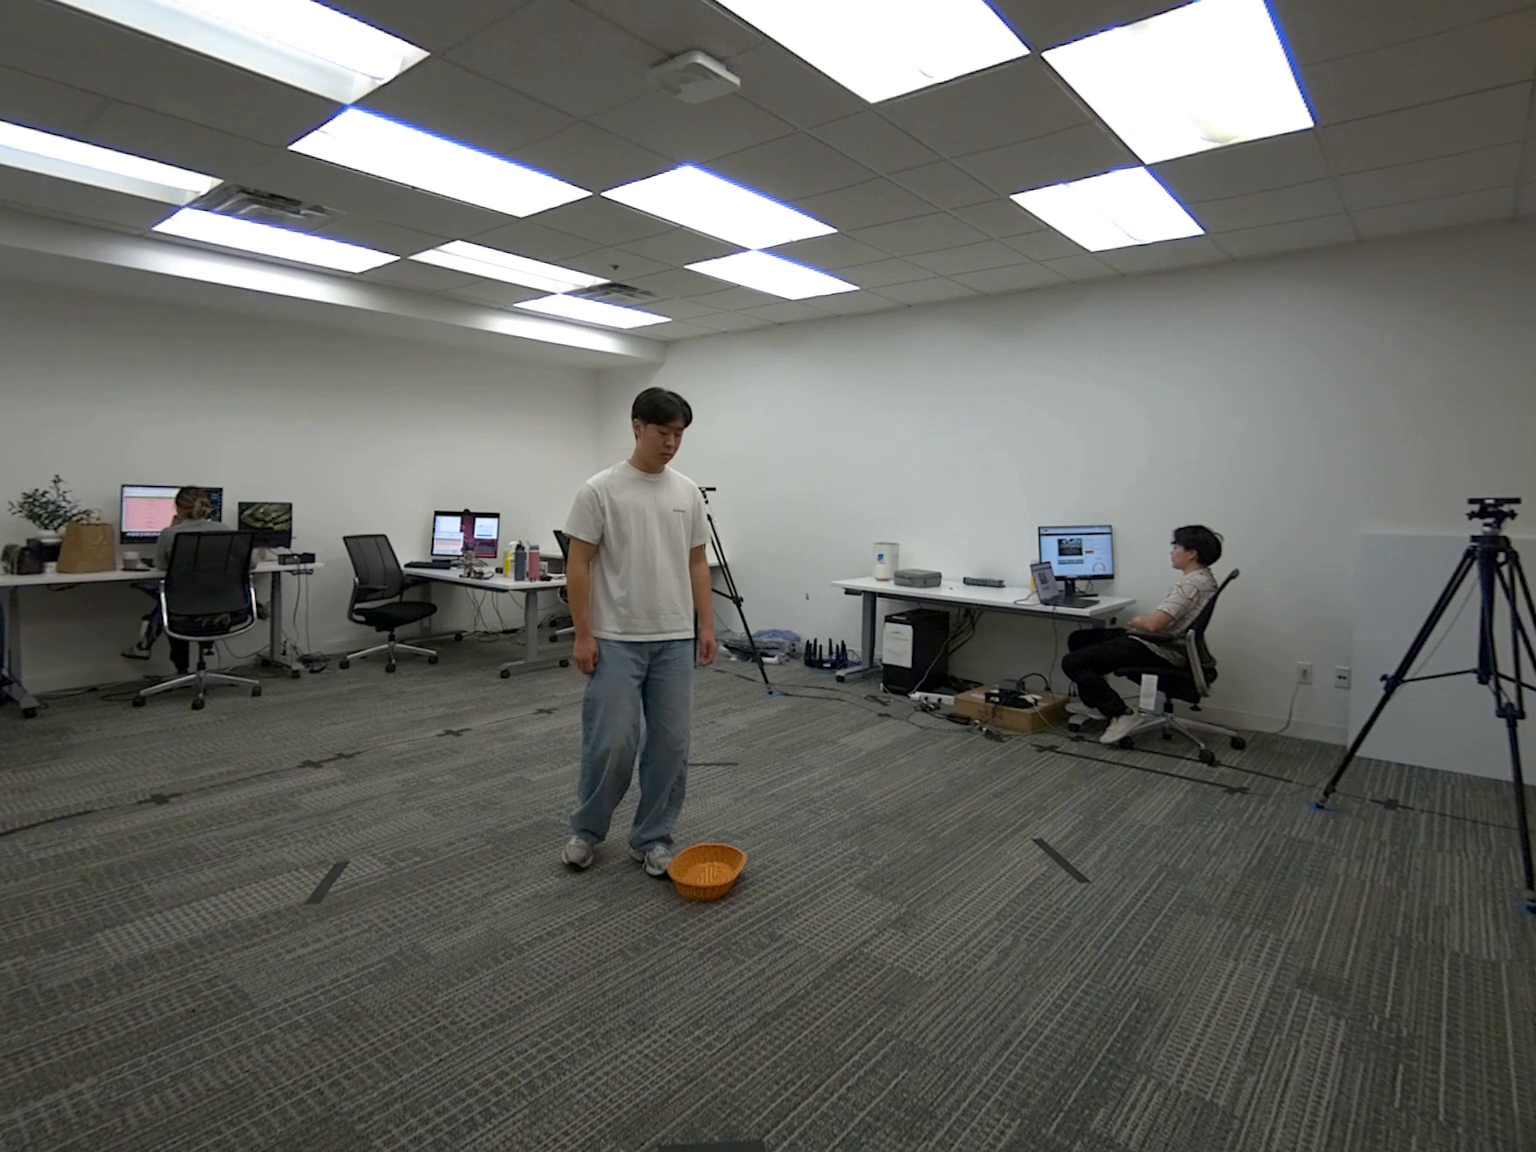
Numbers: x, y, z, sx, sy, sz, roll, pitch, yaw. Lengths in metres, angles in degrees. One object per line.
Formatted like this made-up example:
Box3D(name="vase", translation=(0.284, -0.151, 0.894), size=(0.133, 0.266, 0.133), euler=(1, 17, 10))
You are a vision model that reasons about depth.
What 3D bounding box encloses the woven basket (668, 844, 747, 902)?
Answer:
Box3D(name="woven basket", translation=(-0.220, 1.039, 2.993), size=(0.258, 0.073, 0.344), euler=(3, 6, 21))
